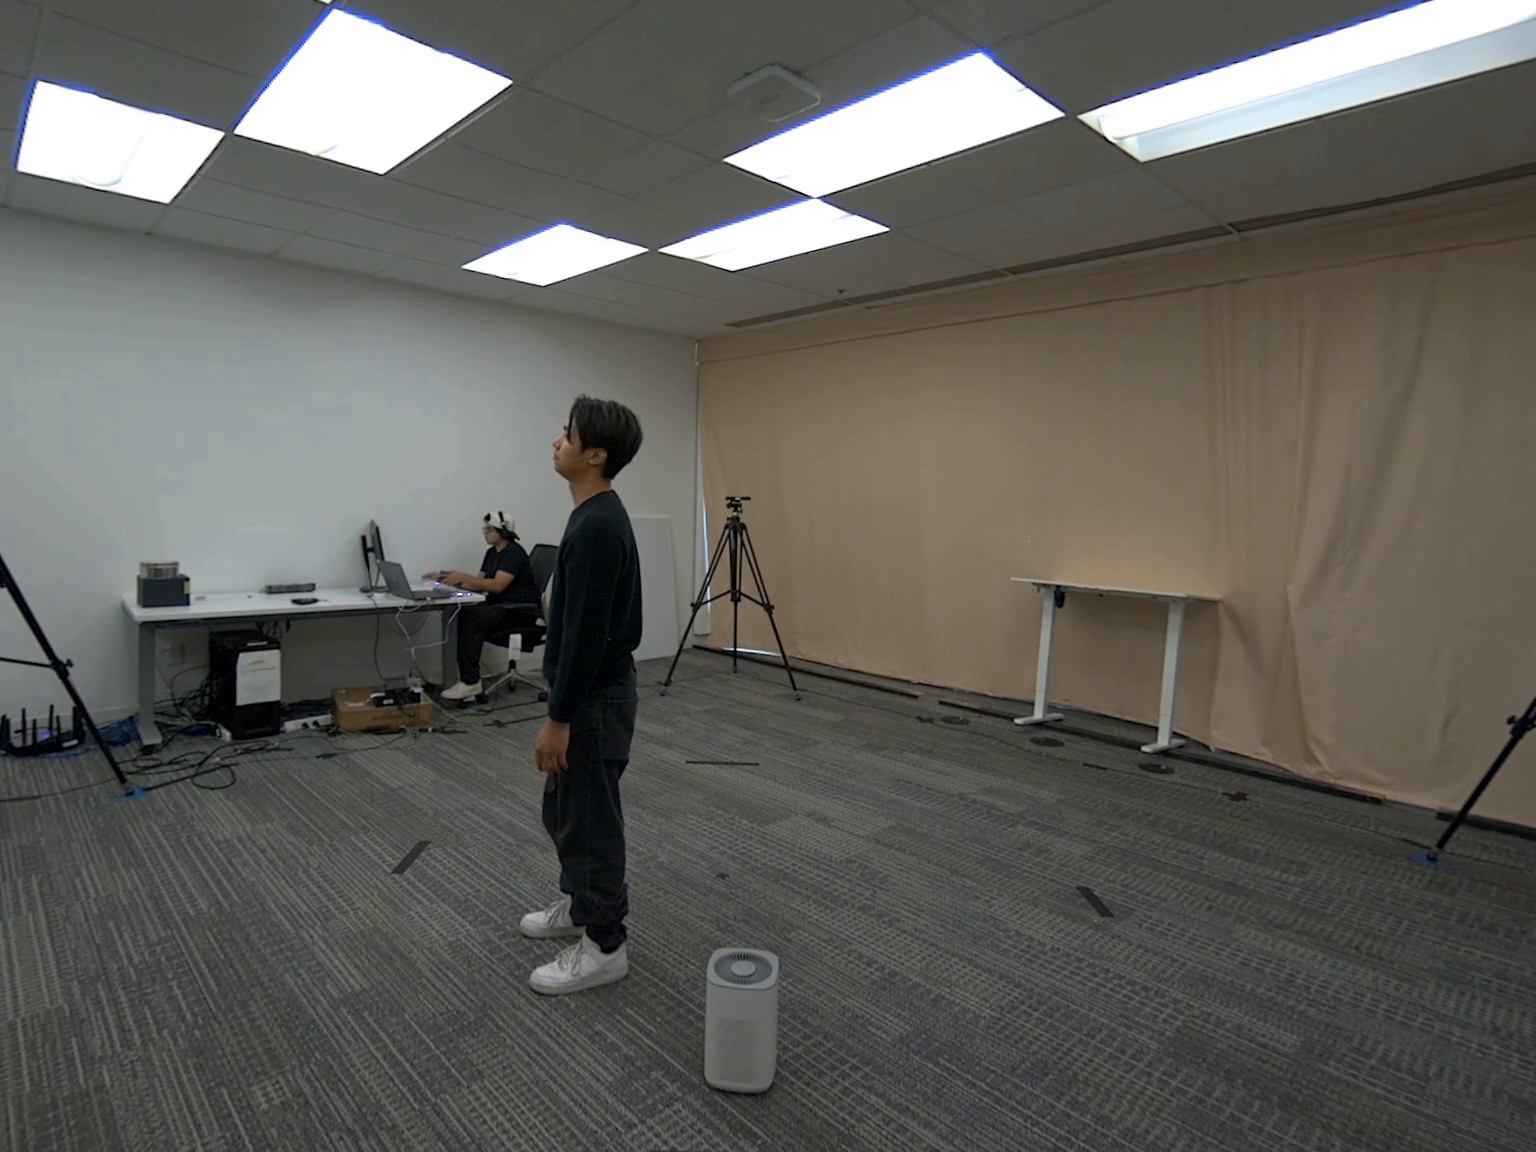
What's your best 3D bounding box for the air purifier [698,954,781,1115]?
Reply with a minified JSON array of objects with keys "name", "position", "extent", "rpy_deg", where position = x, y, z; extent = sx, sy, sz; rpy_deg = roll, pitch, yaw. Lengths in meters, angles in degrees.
[{"name":"air purifier","position":[-0.066,1.084,2.017],"extent":[0.172,0.265,0.170],"rpy_deg":[2,3,5]}]
